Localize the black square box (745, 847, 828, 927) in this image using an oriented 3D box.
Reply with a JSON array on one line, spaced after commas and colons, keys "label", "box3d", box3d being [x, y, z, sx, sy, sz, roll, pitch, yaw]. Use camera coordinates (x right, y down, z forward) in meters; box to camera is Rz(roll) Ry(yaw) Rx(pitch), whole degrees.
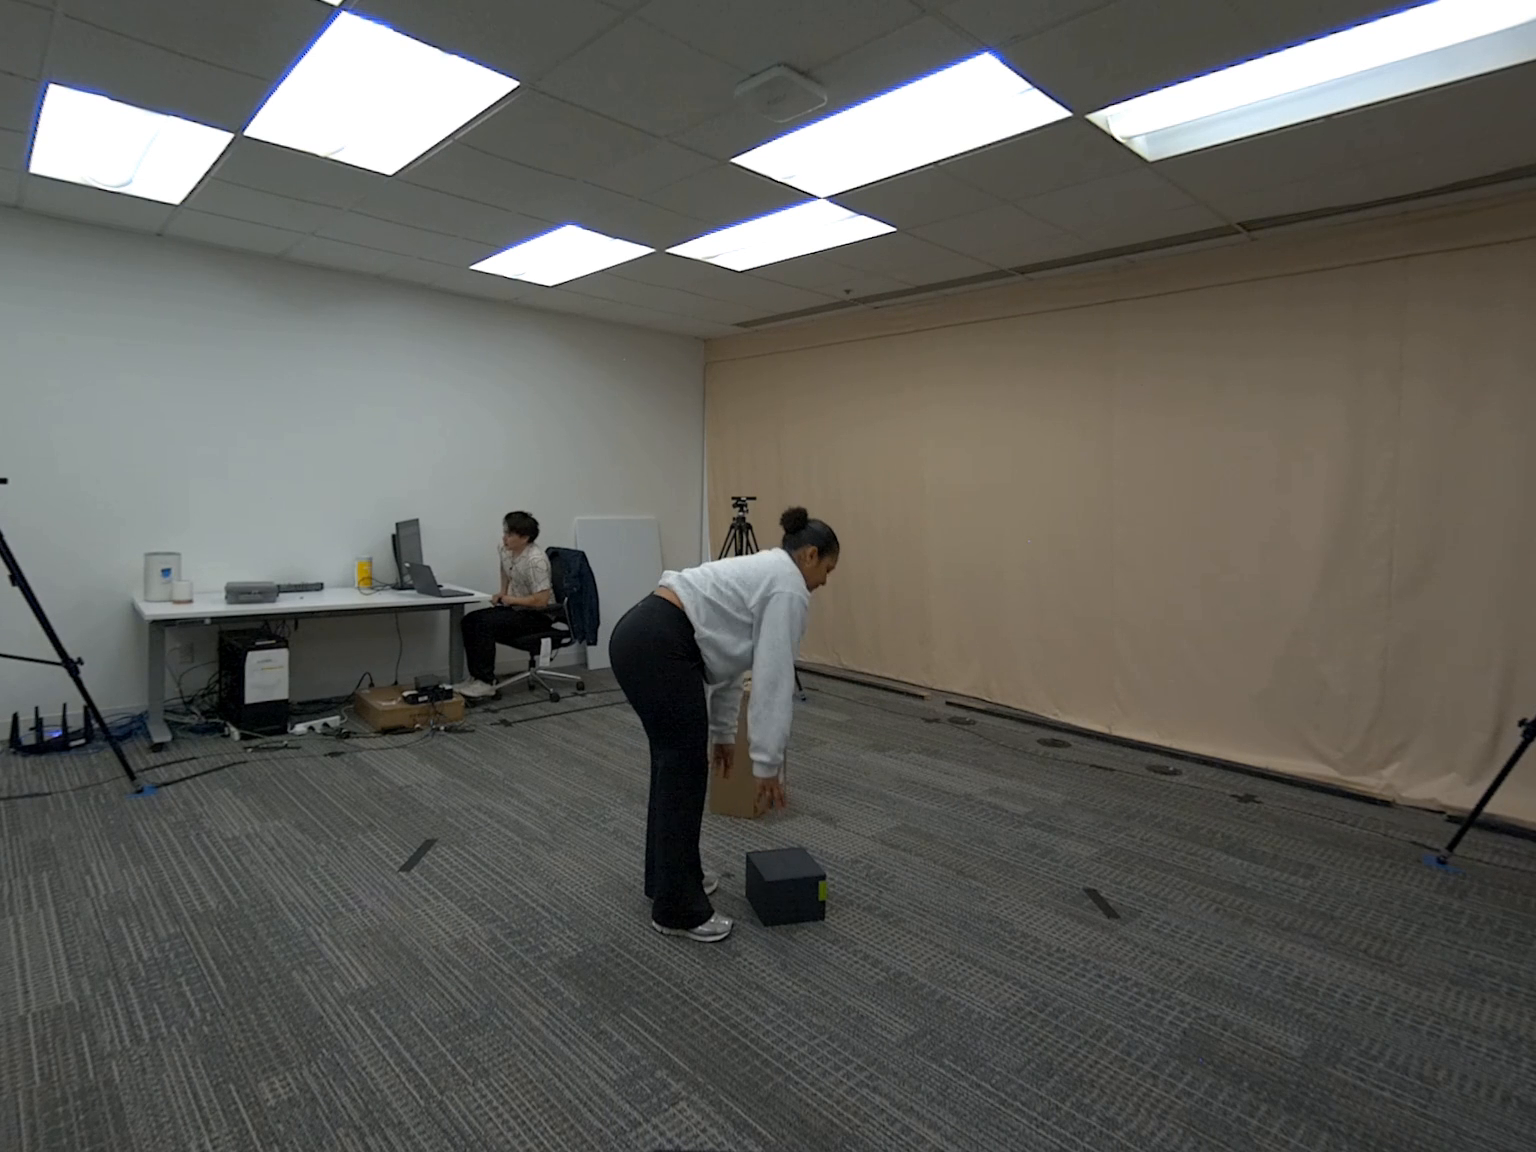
[{"label": "black square box", "box3d": [0.045, 1.048, 2.859, 0.214, 0.155, 0.231, 0, 5, -17]}]
